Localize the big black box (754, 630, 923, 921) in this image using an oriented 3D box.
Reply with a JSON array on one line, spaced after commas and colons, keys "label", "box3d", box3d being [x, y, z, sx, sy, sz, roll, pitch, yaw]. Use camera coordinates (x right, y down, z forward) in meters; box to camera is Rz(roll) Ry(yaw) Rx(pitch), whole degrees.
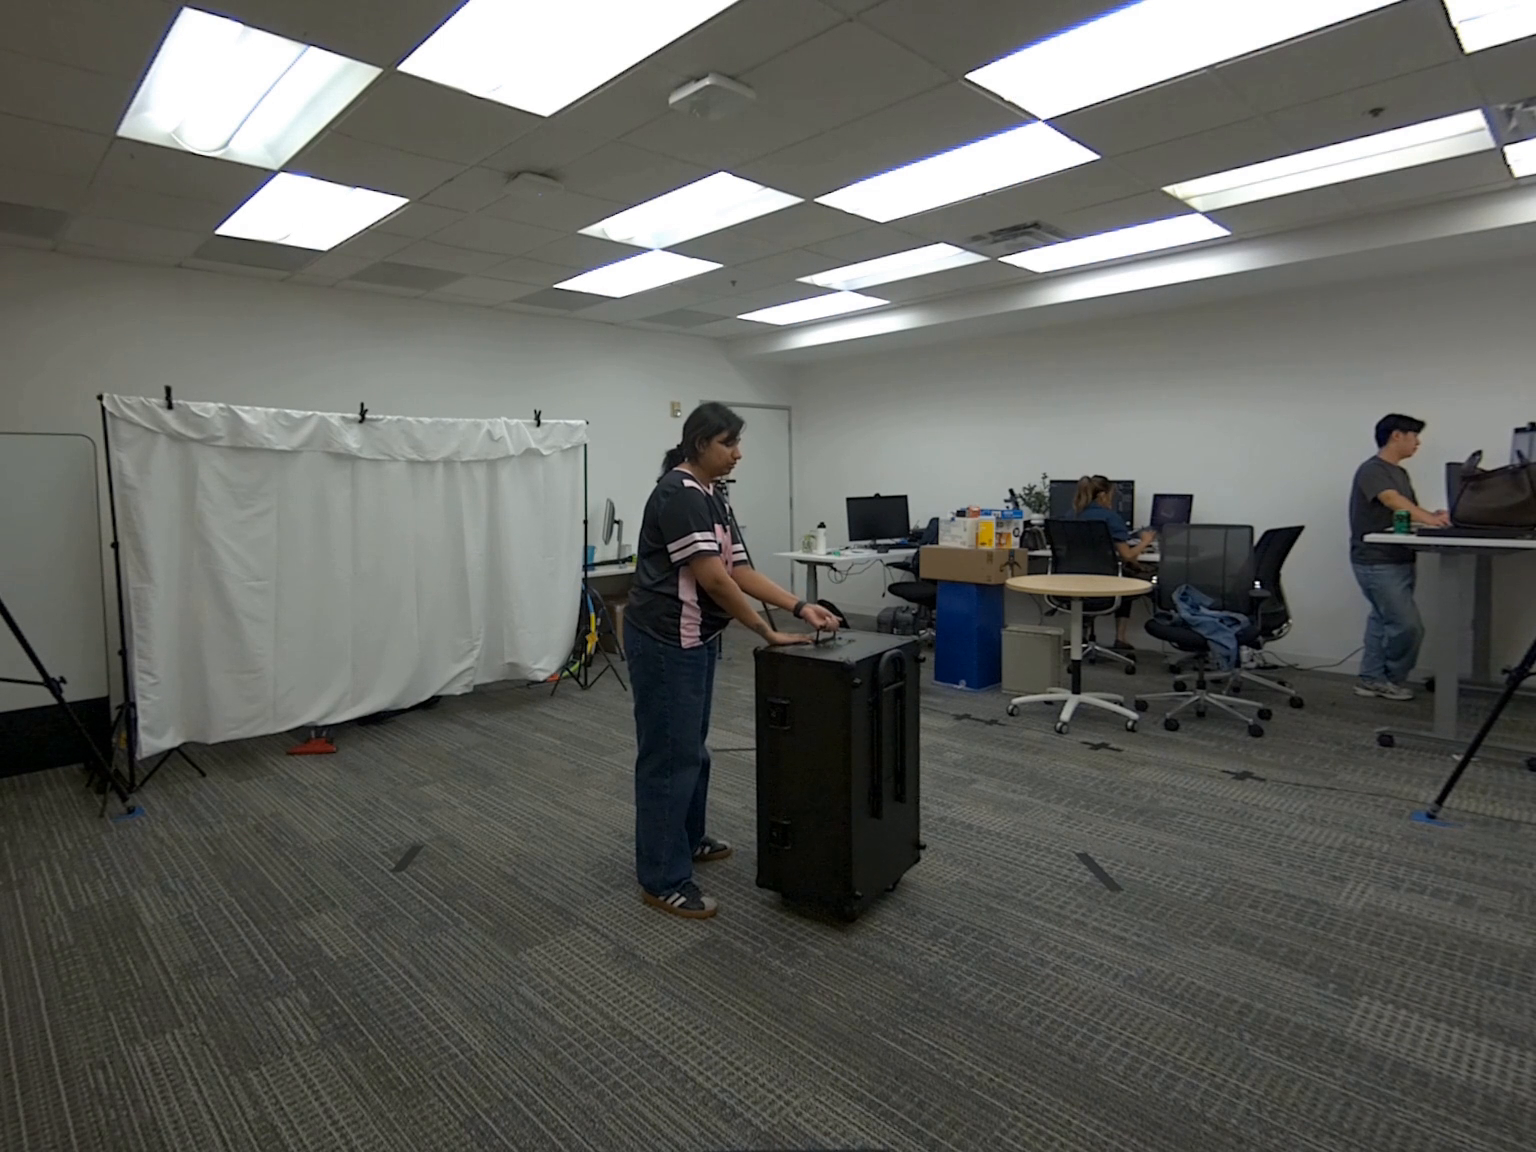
[{"label": "big black box", "box3d": [0.247, 0.647, 2.849, 0.396, 0.865, 0.510, 2, 5, 35]}]
